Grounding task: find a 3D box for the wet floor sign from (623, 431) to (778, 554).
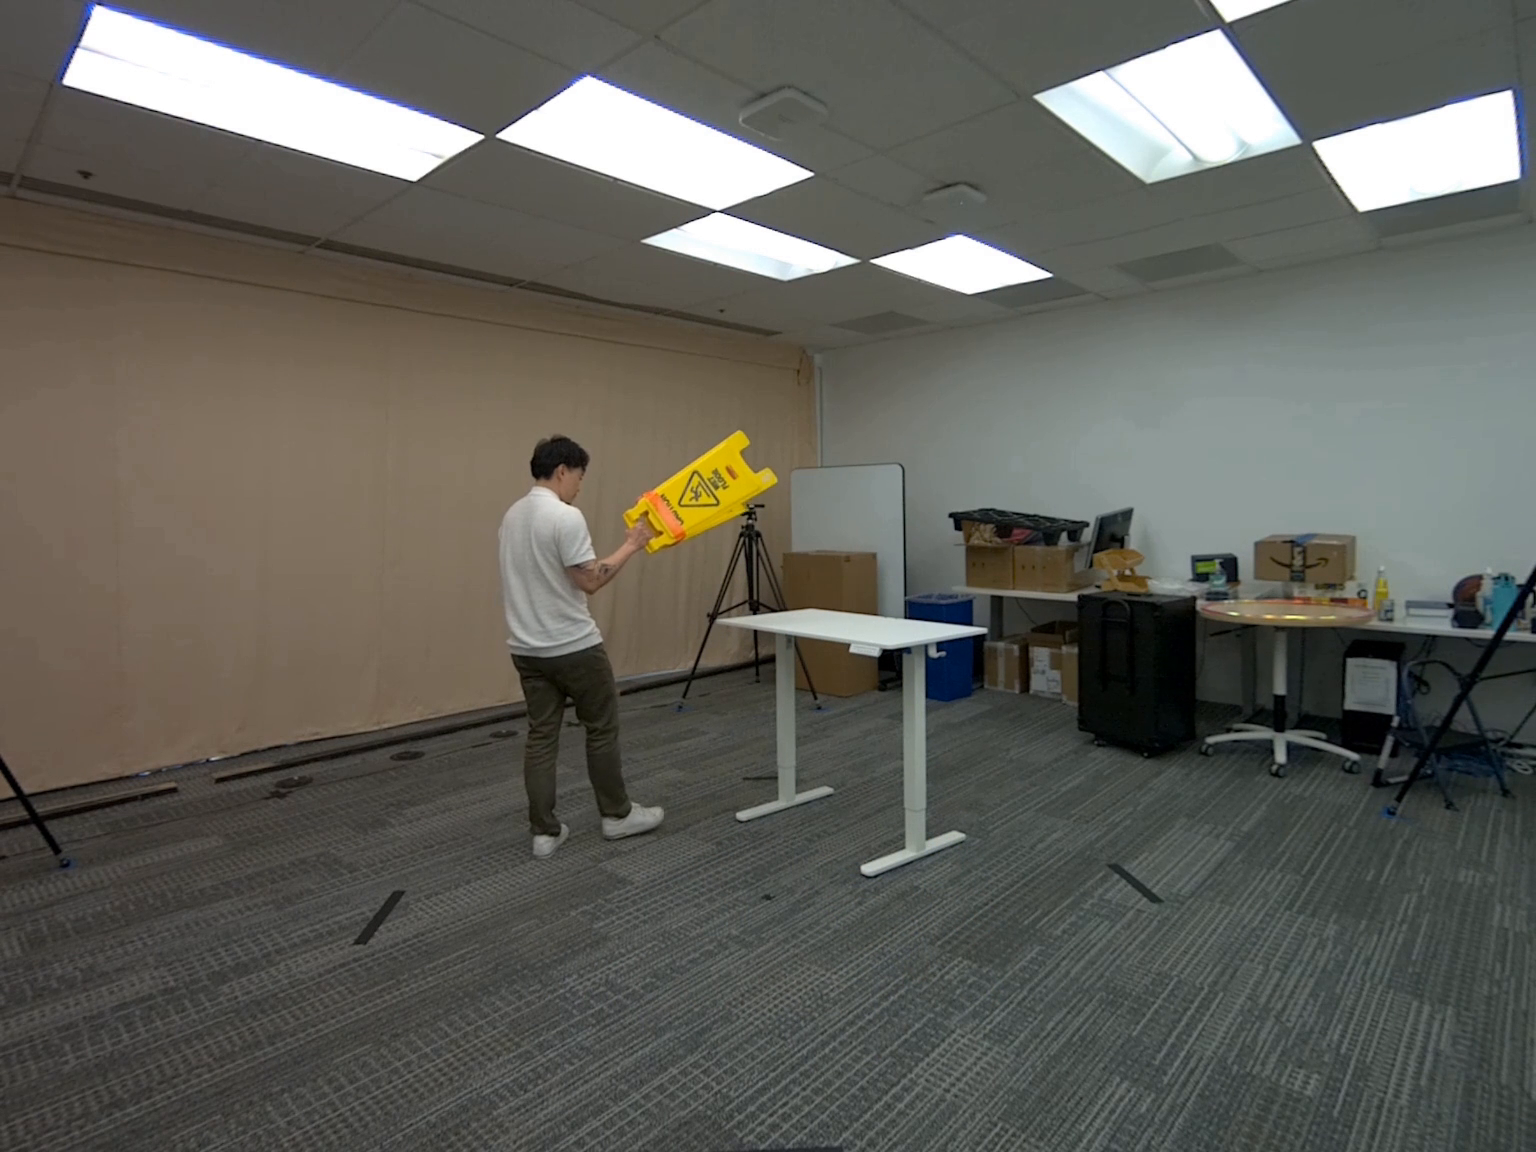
[{"bbox_3d":[-0.305,-0.313,3.561,0.636,0.284,0.293,-34,-4,-35],"label":"wet floor sign"}]
